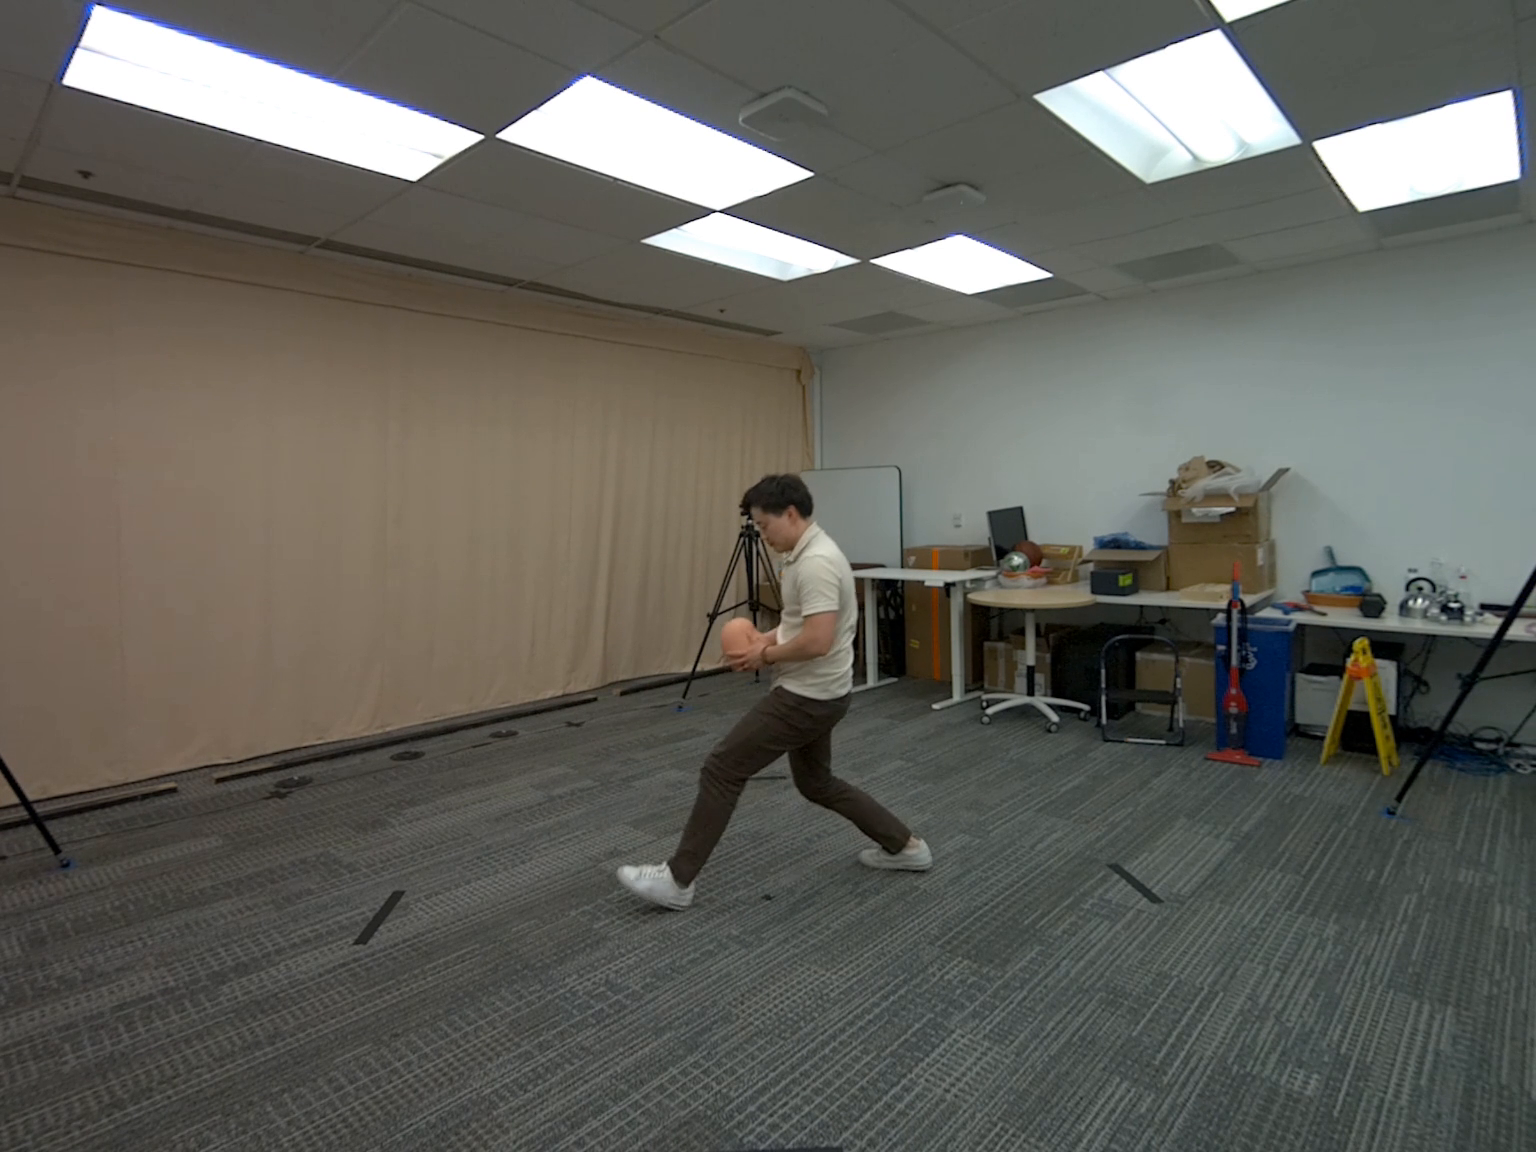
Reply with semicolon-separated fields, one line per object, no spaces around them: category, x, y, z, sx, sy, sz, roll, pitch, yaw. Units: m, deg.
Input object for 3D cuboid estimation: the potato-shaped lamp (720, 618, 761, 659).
potato-shaped lamp;-0.096;0.248;3.065;0.173;0.198;0.163;-9;3;11
